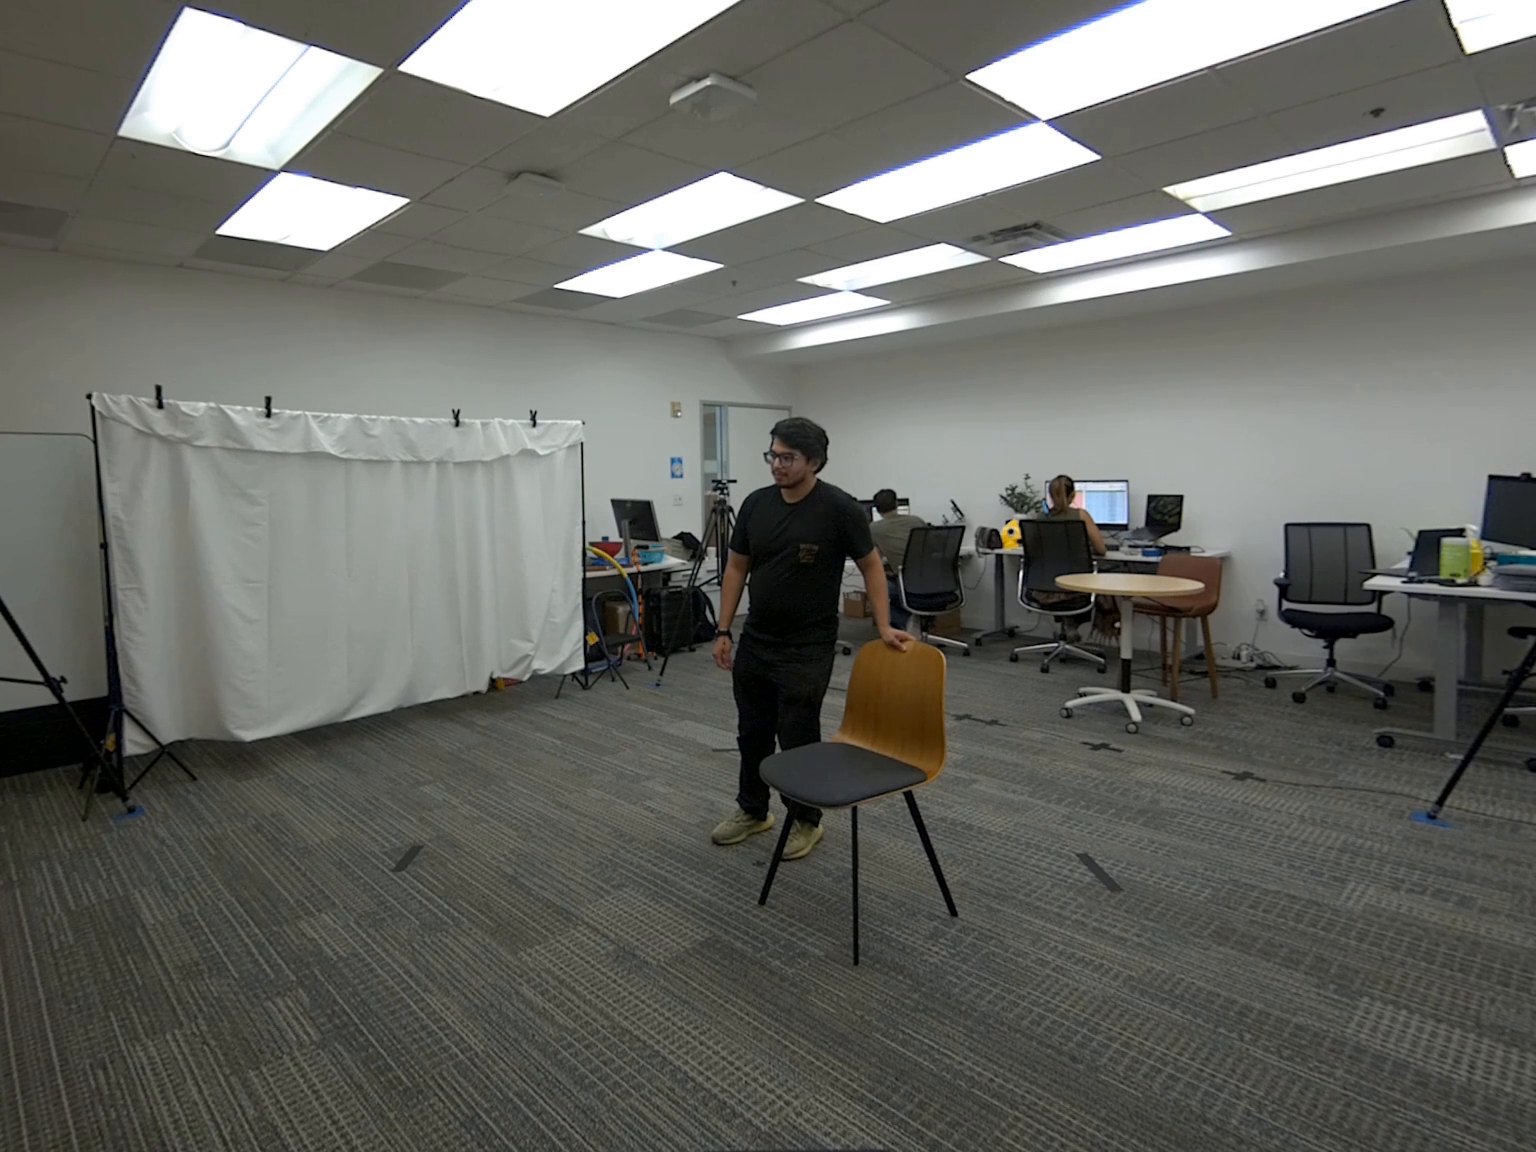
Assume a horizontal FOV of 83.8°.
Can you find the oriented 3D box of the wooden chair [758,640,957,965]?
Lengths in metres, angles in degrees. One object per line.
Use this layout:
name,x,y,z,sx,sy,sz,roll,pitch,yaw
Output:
wooden chair,0.277,0.660,2.720,0.508,0.877,0.492,1,1,-38
